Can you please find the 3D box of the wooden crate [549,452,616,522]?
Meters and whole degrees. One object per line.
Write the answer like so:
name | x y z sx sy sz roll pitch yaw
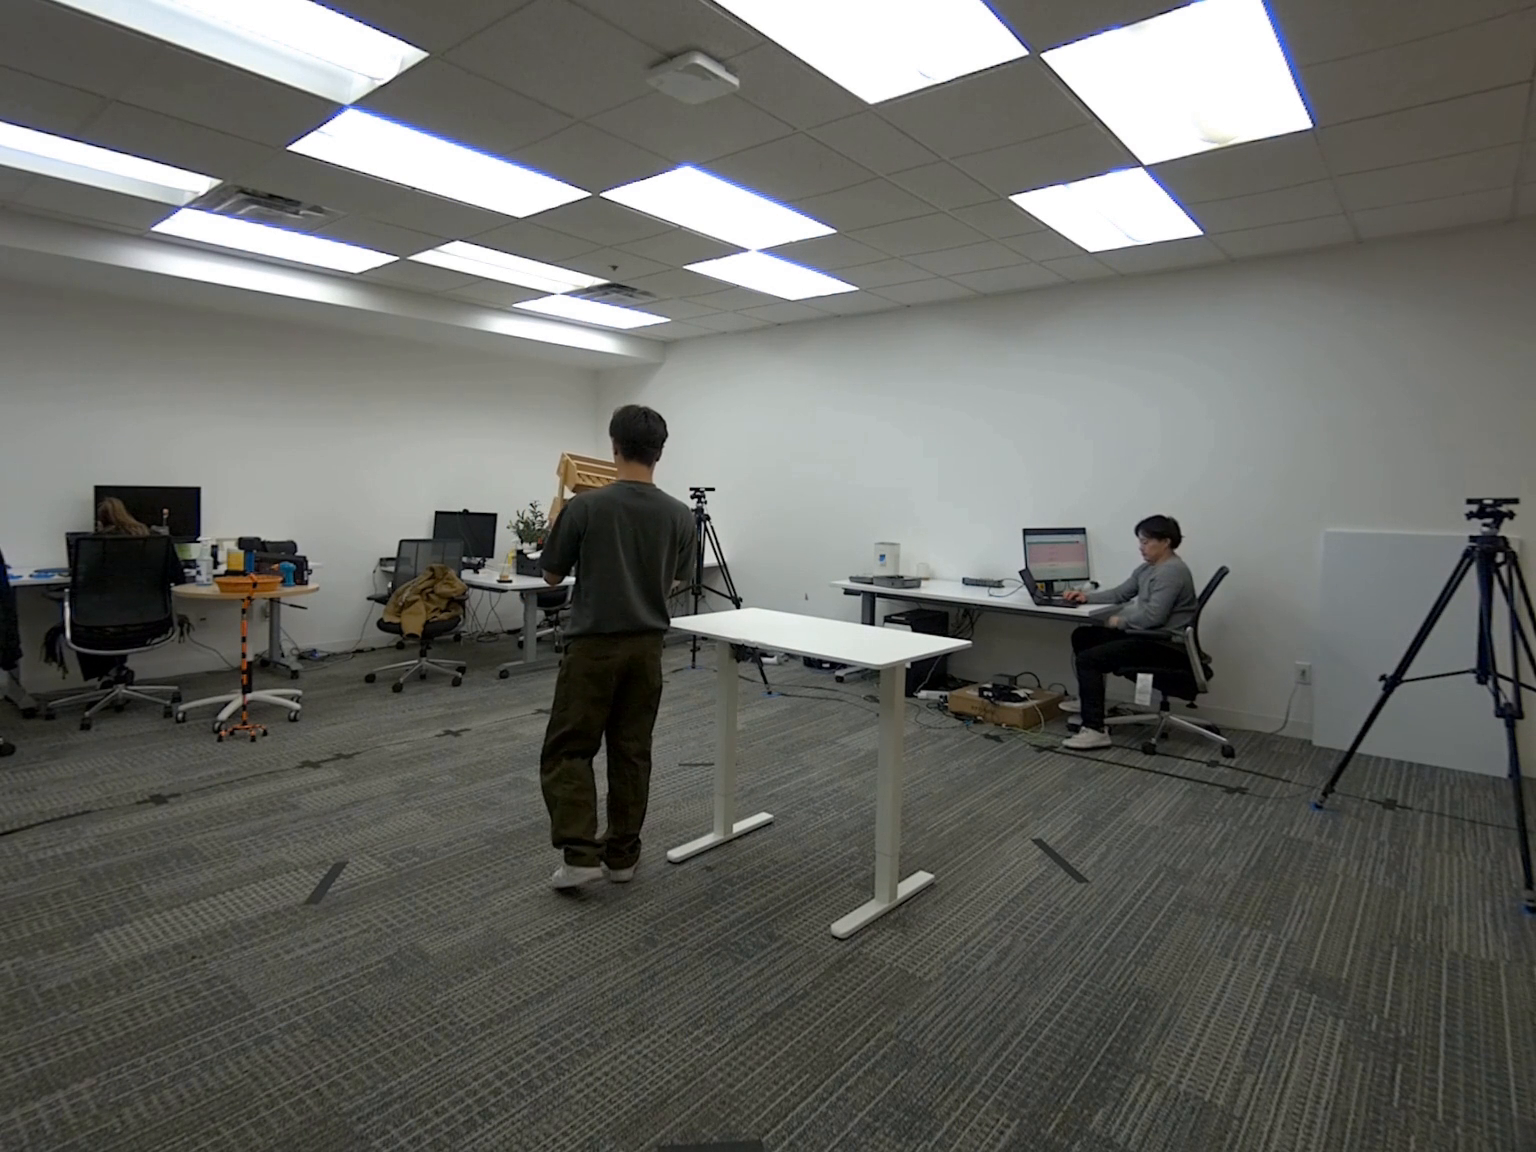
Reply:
wooden crate | -0.653 -0.288 3.285 0.314 0.271 0.315 8 22 -35
